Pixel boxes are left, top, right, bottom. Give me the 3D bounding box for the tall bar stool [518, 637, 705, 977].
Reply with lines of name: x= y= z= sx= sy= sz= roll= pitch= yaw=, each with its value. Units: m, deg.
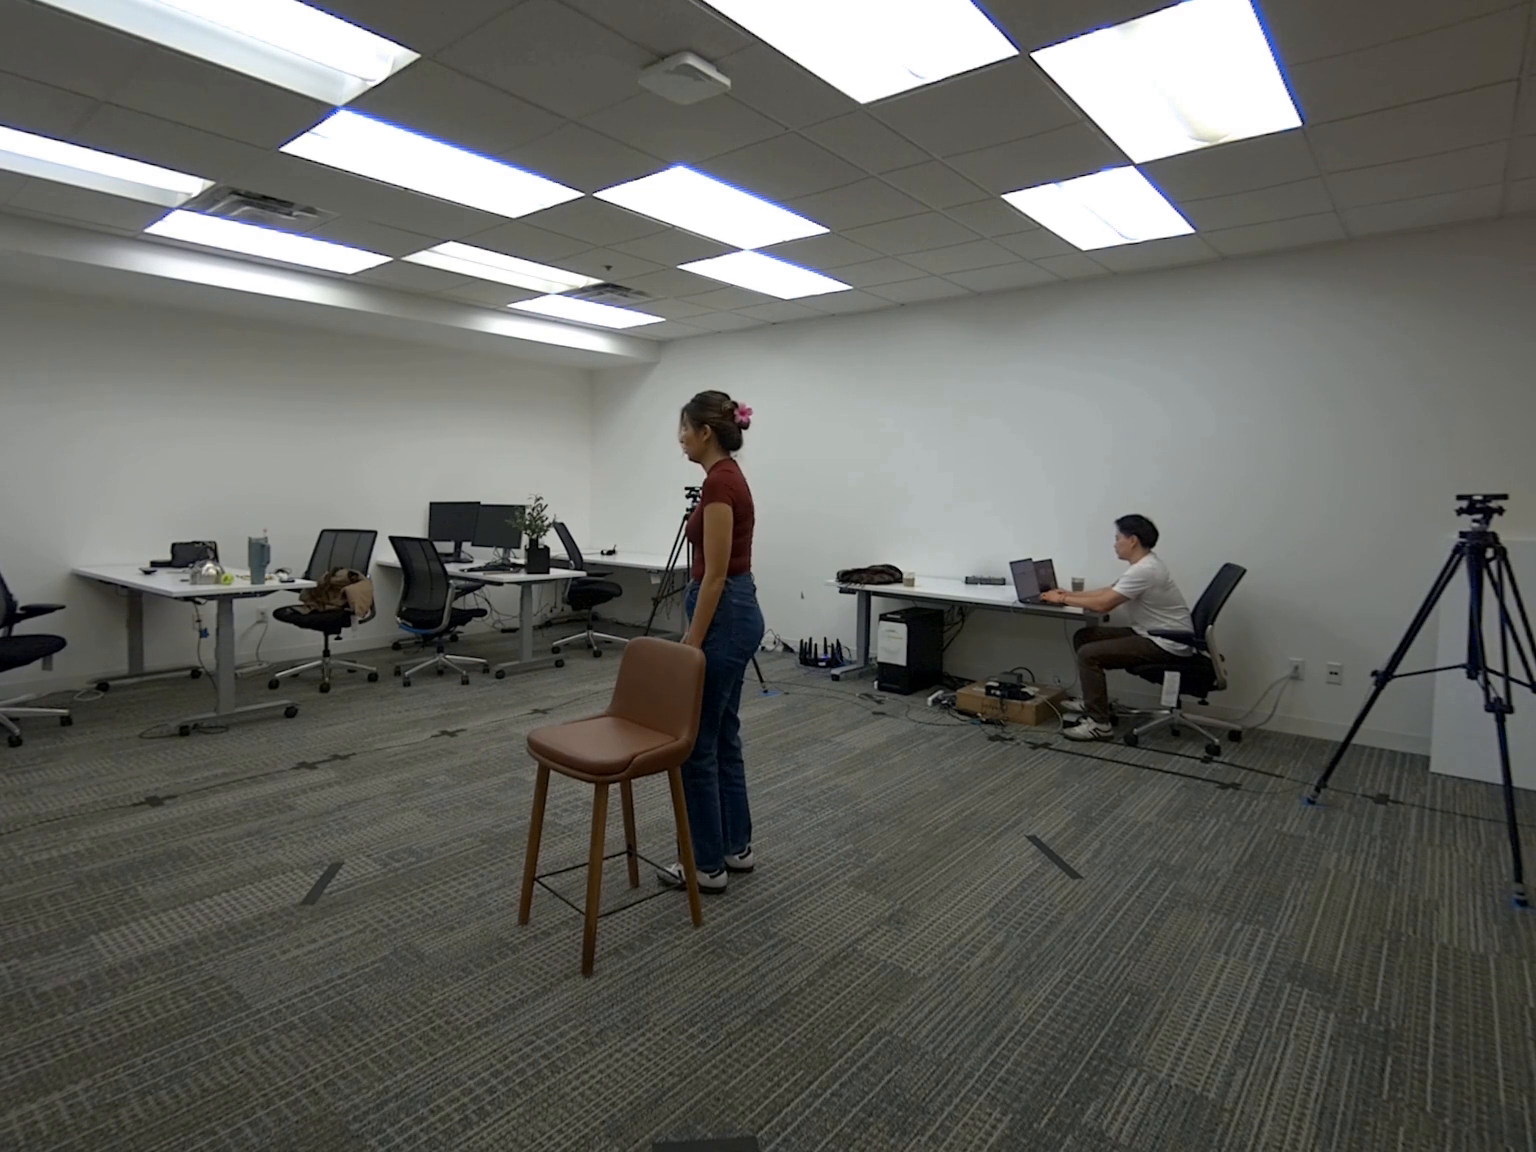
tall bar stool: x=-0.494 y=0.670 z=2.675 sx=0.453 sy=0.888 sz=0.472 roll=1 pitch=2 yaw=-42
